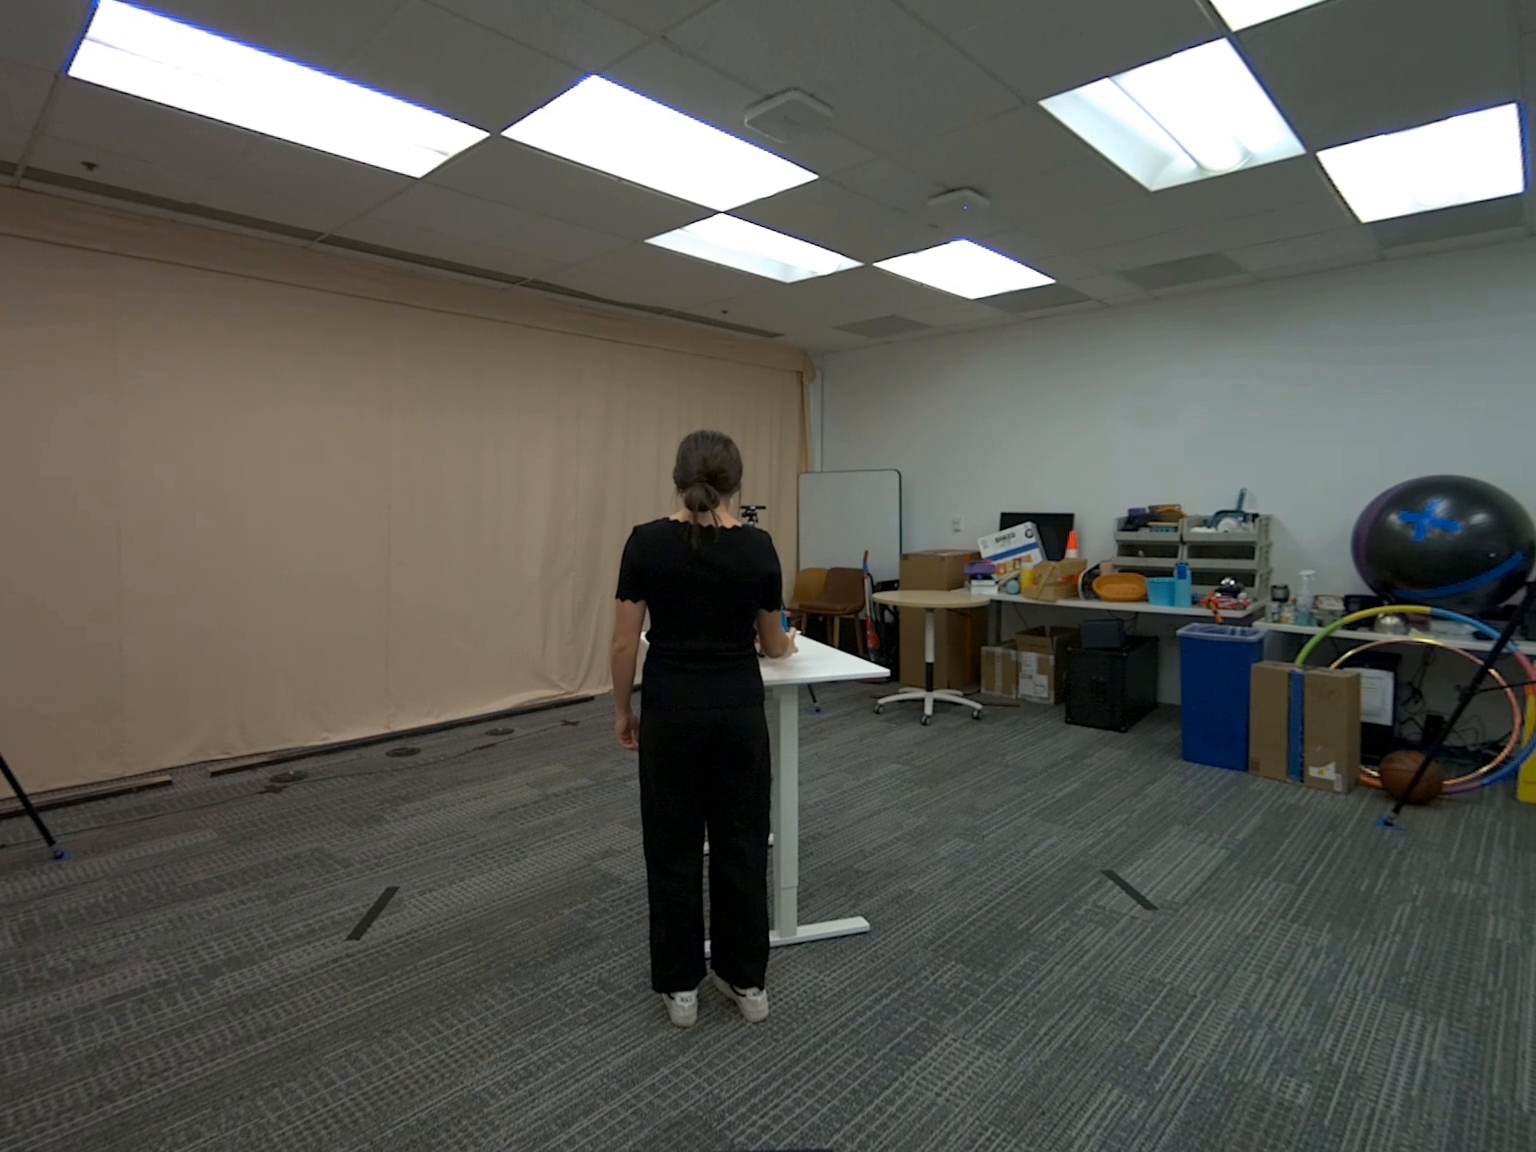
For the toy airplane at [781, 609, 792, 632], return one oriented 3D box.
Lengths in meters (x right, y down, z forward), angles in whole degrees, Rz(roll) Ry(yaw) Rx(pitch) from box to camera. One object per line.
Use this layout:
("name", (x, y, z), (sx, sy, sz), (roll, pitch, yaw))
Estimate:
("toy airplane", (0.004, 0.183, 2.766), (0.265, 0.157, 0.244), (-14, -9, 28))
